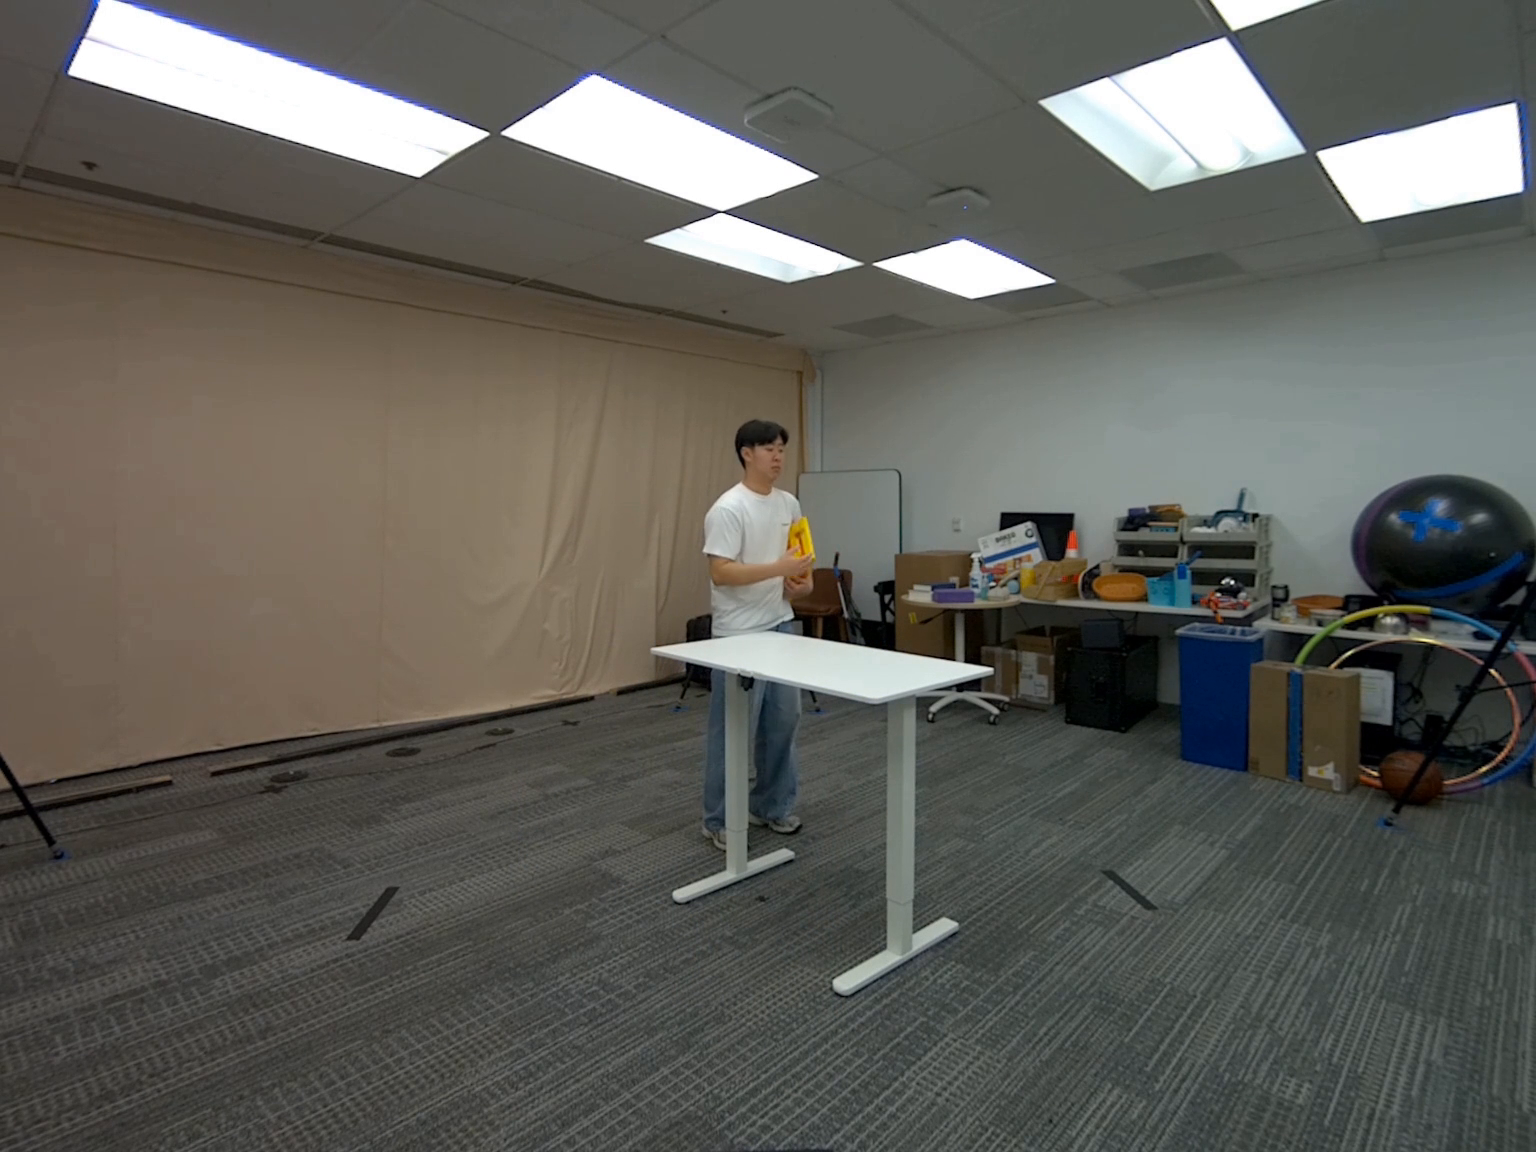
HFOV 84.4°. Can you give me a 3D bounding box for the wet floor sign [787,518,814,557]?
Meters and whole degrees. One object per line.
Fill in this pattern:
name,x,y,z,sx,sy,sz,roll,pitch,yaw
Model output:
wet floor sign,0.062,-0.026,3.756,0.283,0.287,0.649,1,-24,-23
